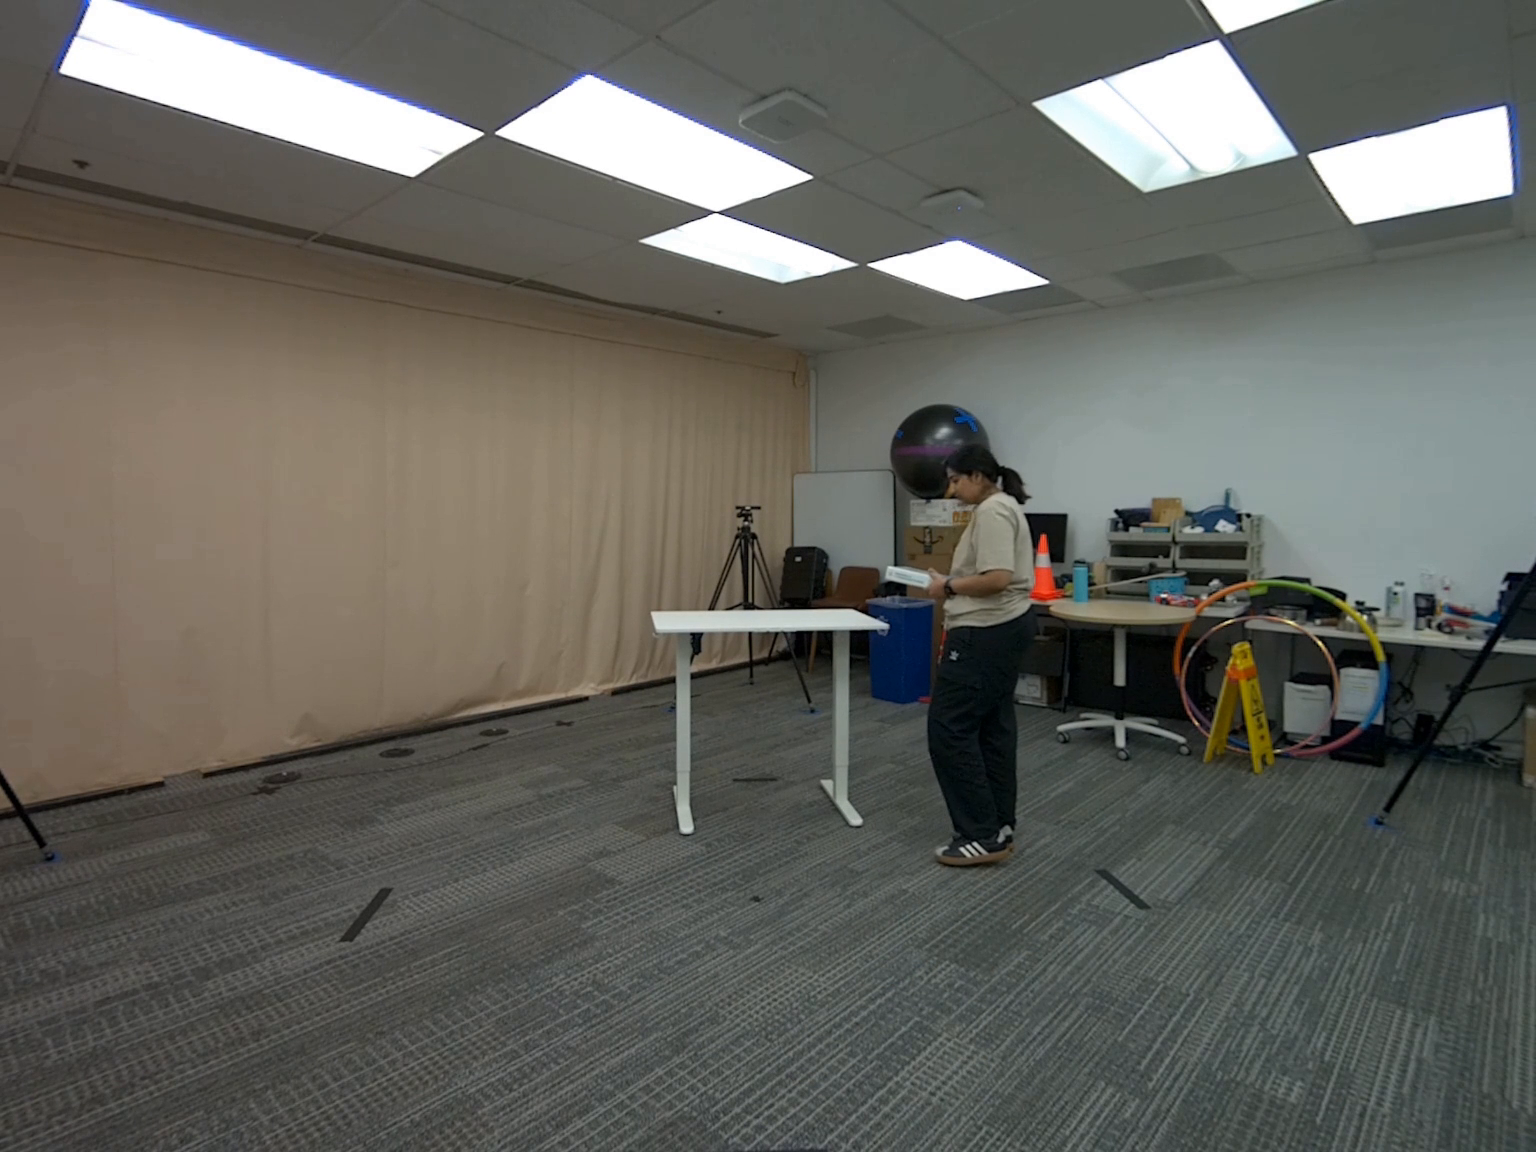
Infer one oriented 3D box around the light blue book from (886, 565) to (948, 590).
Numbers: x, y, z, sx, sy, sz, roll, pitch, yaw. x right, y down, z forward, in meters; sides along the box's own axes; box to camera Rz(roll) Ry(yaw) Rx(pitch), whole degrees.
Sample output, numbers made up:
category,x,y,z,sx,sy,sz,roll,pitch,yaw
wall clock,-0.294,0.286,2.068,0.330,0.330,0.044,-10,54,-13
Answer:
category,x,y,z,sx,sy,sz,roll,pitch,yaw
light blue book,0.670,0.008,3.622,0.186,0.059,0.269,2,9,-32
